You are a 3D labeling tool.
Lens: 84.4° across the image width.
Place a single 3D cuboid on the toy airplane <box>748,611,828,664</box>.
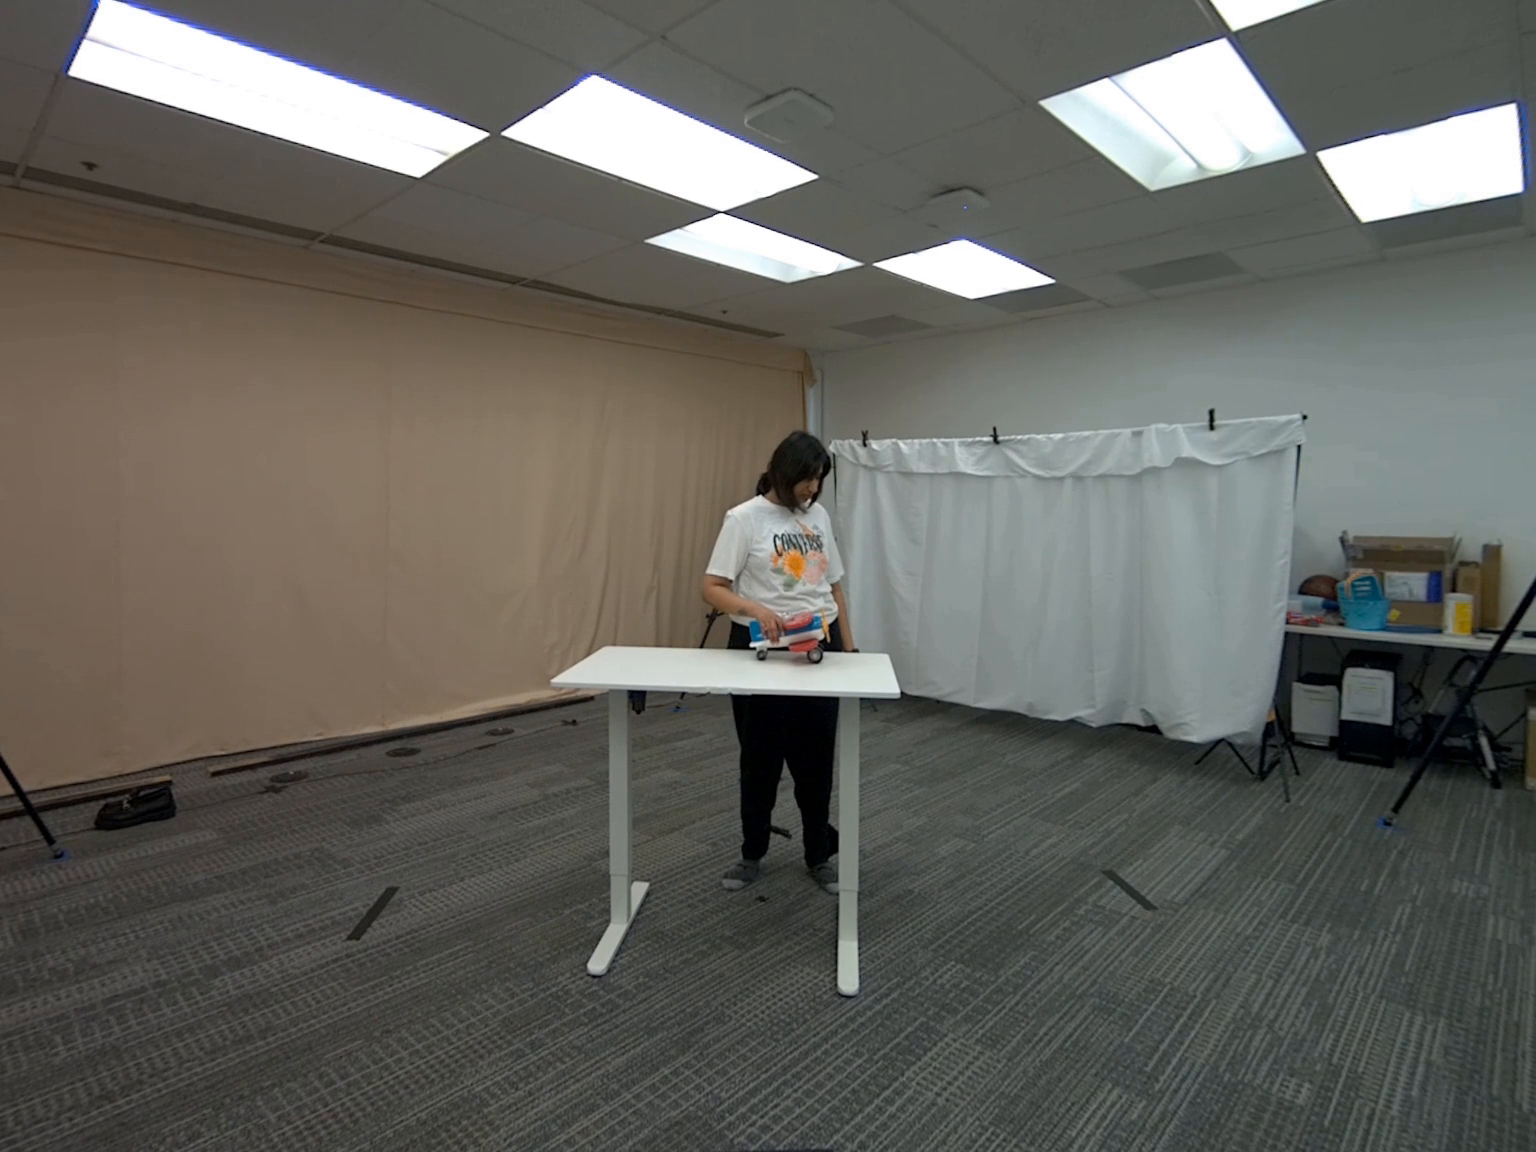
[{"bbox_3d":[0.070,0.204,2.753,0.254,0.156,0.257,-1,4,-22],"label":"toy airplane"}]
